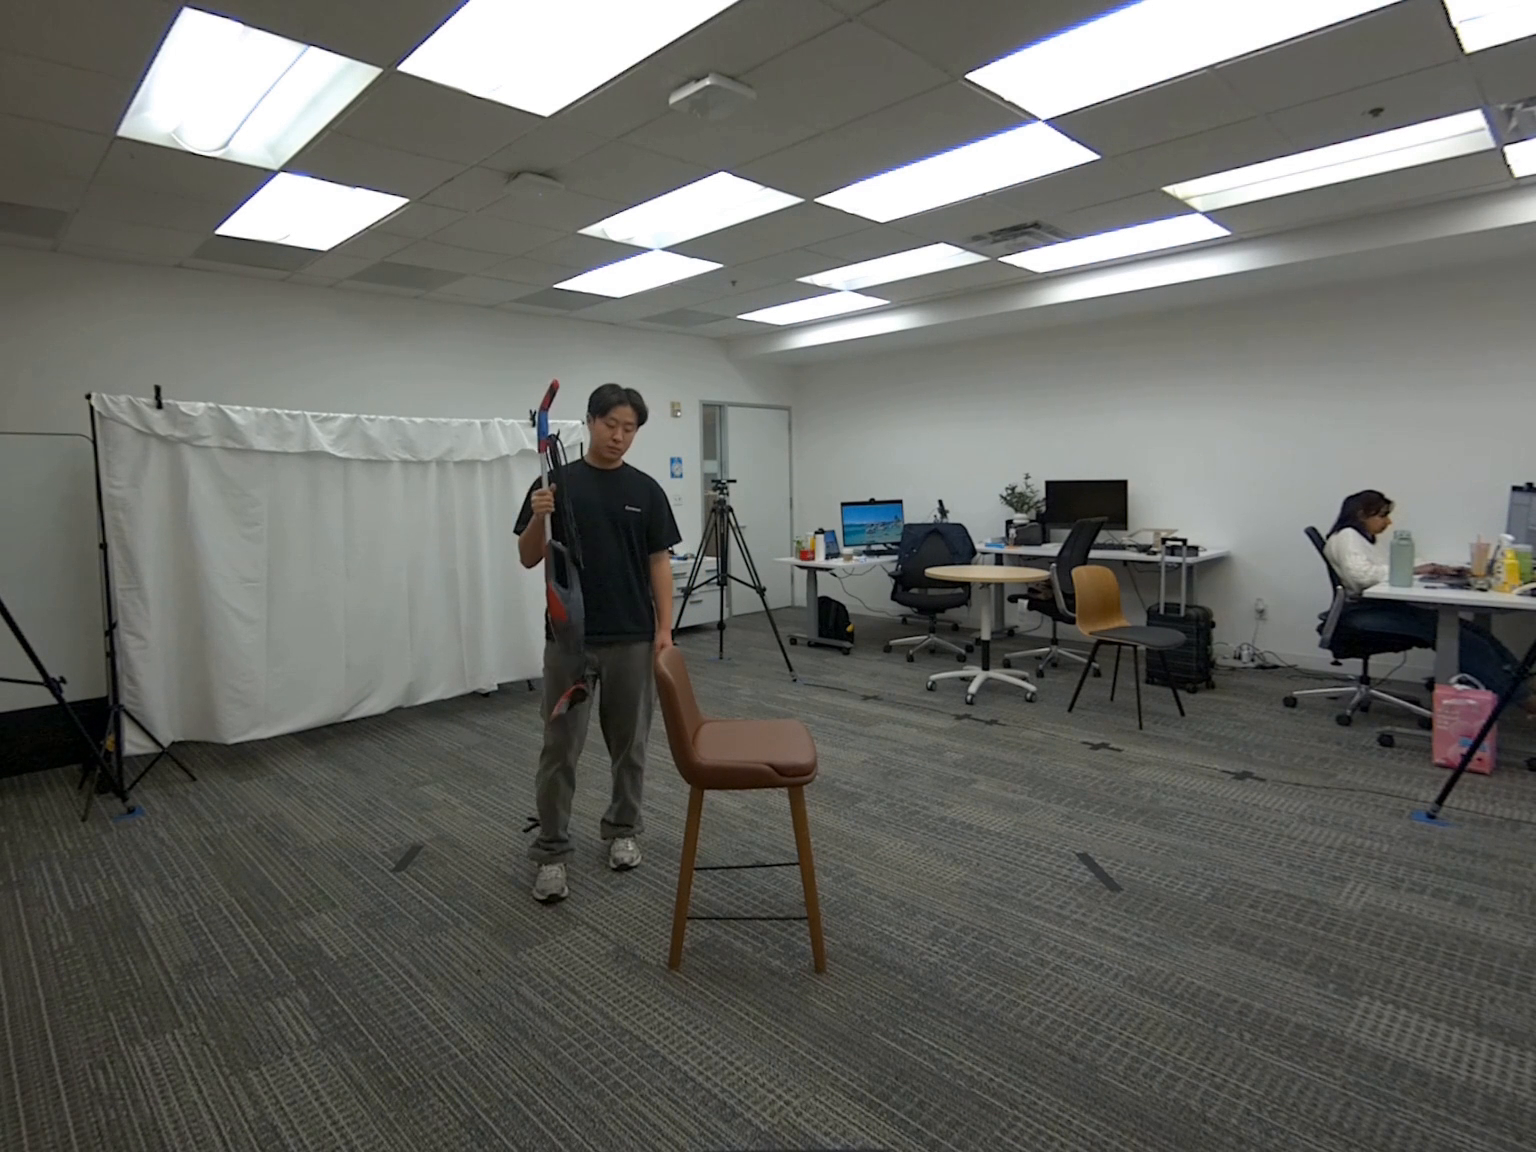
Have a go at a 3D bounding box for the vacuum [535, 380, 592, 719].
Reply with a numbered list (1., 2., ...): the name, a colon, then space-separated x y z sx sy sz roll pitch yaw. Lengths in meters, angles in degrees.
1. vacuum: -0.678 -0.105 2.789 0.143 1.048 0.255 -1 1 -9
